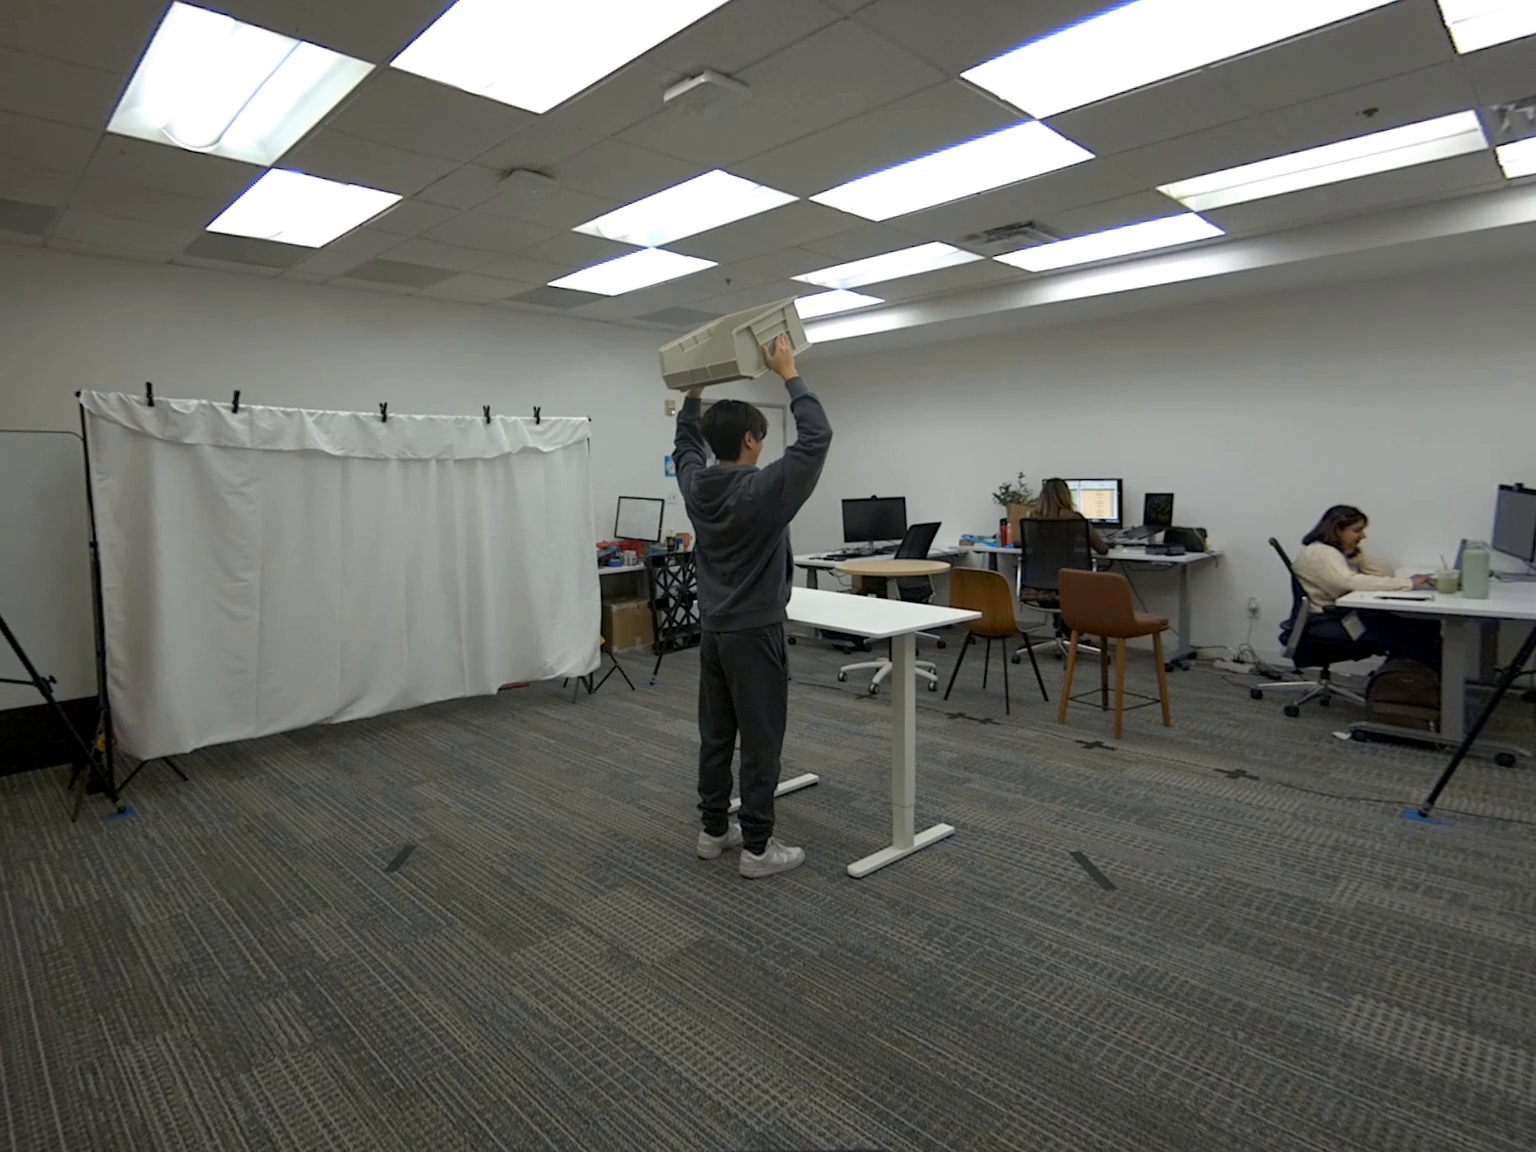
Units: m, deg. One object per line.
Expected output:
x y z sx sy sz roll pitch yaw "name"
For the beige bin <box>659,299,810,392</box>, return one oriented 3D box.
-0.121 -0.811 3.051 0.435 0.185 0.375 3 32 48 "beige bin"
